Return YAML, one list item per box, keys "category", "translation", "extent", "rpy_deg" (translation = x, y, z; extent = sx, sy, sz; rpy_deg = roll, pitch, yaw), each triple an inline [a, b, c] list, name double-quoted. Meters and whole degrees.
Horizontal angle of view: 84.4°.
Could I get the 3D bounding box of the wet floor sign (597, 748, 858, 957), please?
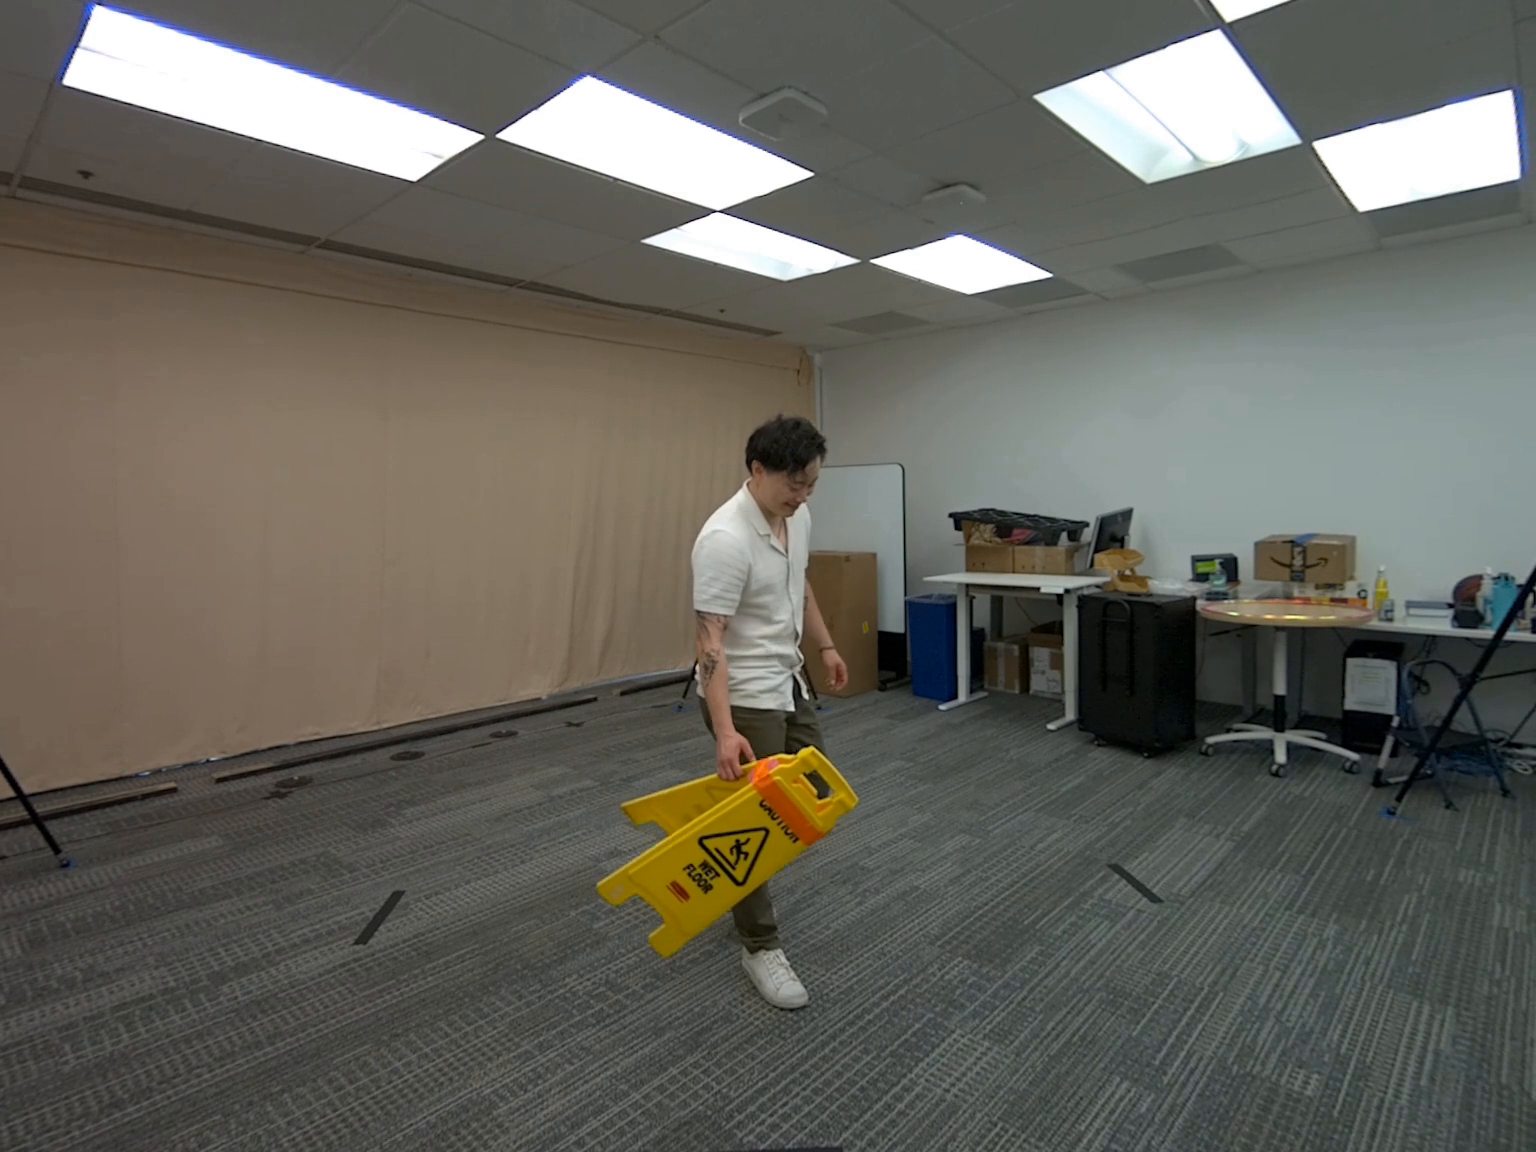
- category: "wet floor sign"
  translation: [-0.083, 0.650, 2.168]
  extent: [0.652, 0.277, 0.292]
  rpy_deg: [-34, 17, 17]
